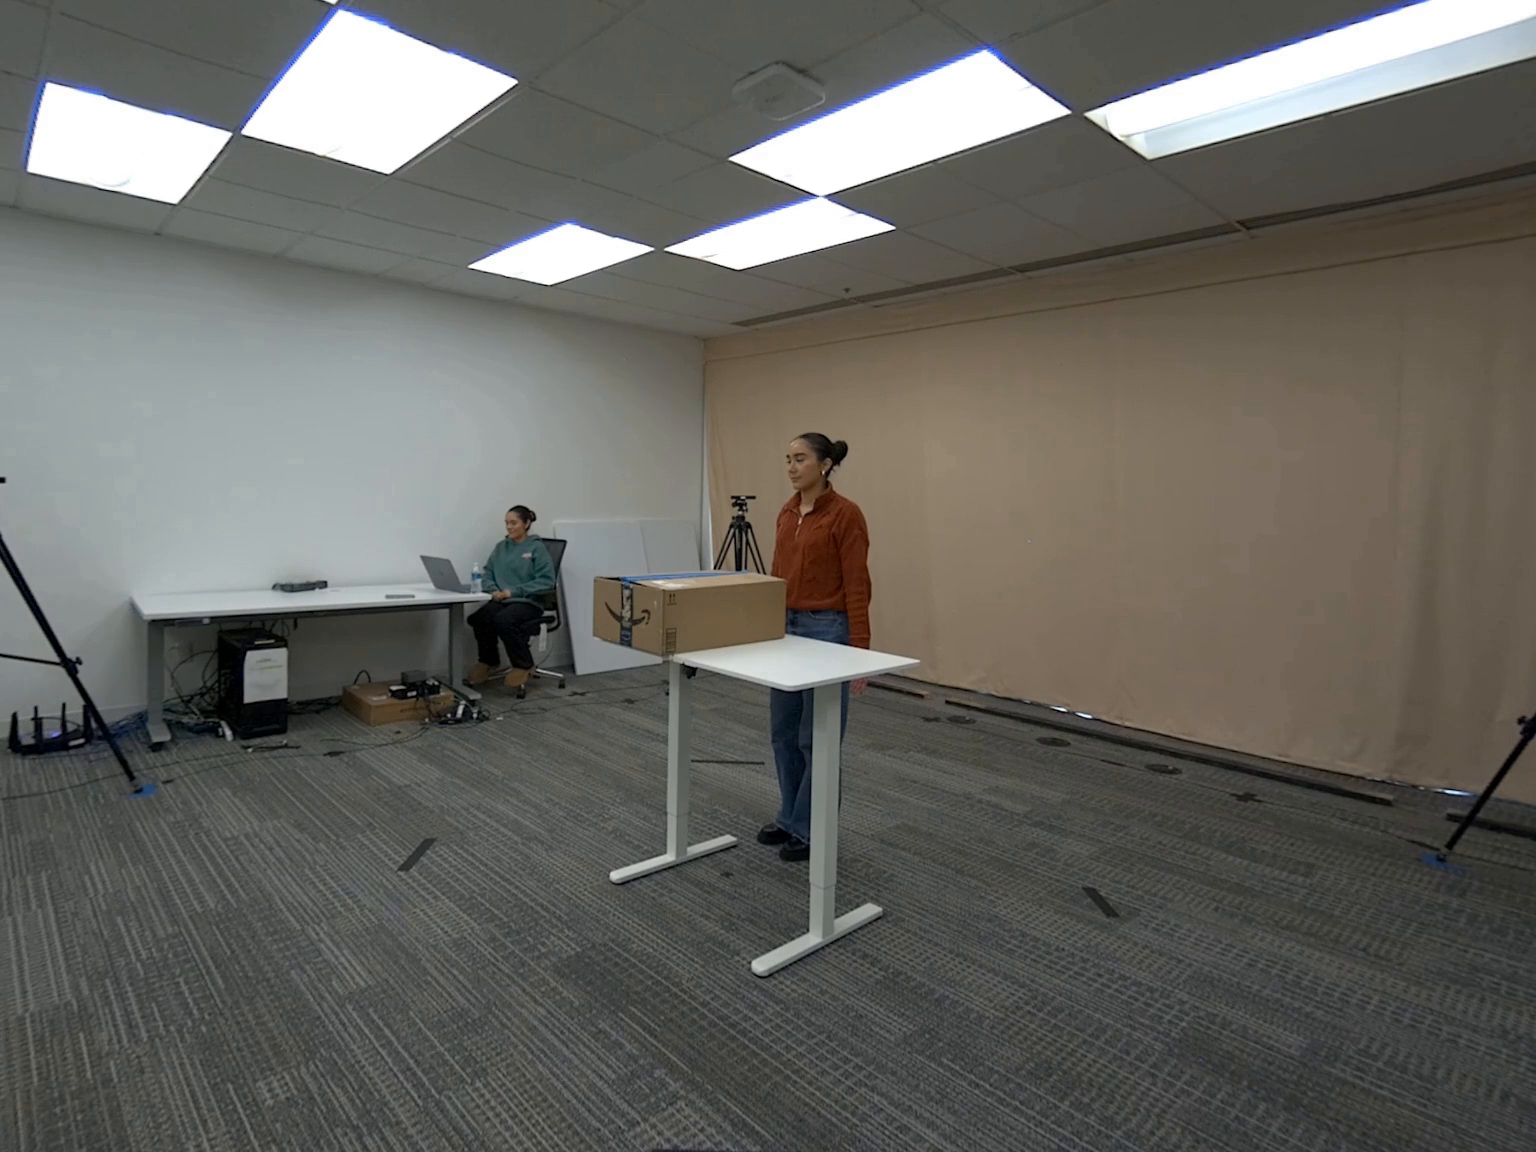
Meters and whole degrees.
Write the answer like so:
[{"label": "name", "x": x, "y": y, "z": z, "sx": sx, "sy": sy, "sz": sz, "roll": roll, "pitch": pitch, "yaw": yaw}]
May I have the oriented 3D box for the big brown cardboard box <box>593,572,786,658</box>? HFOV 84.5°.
[{"label": "big brown cardboard box", "x": -0.285, "y": 0.117, "z": 3.018, "sx": 0.575, "sy": 0.232, "sz": 0.428, "roll": -3, "pitch": 7, "yaw": -44}]
